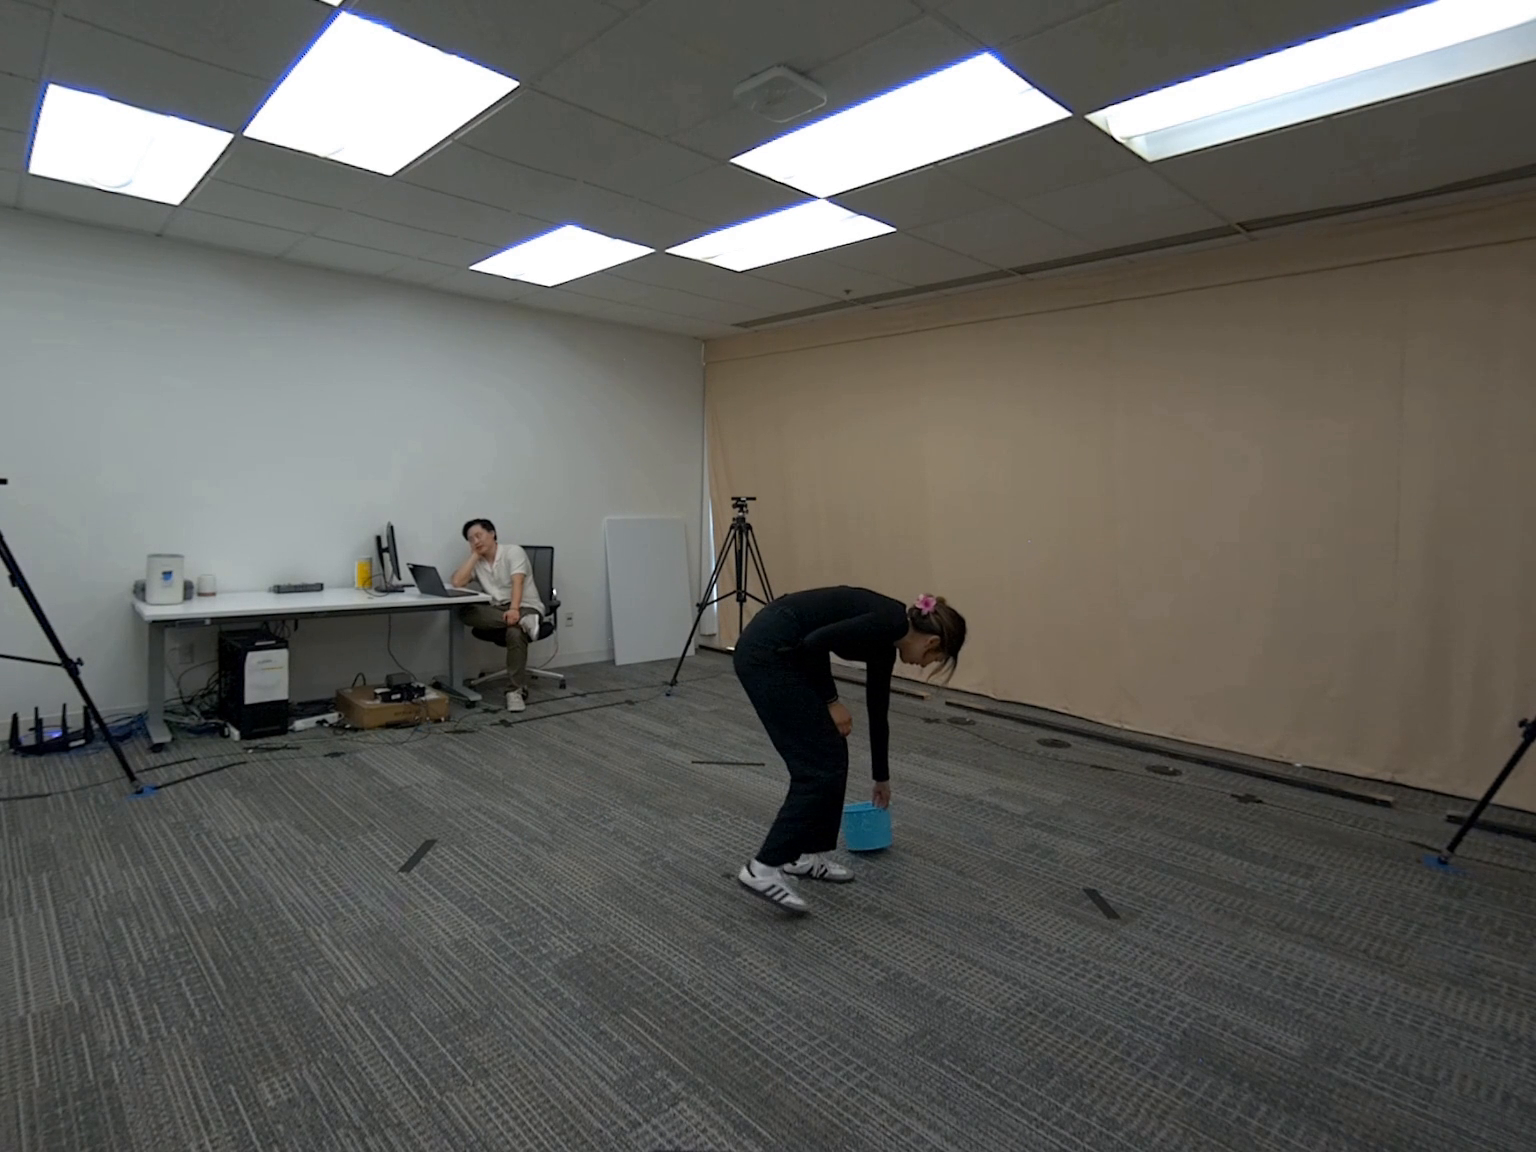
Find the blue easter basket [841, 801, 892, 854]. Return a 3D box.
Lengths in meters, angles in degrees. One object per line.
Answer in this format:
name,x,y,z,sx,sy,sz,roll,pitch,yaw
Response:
blue easter basket,0.383,0.998,3.369,0.243,0.157,0.242,-6,-7,-2
